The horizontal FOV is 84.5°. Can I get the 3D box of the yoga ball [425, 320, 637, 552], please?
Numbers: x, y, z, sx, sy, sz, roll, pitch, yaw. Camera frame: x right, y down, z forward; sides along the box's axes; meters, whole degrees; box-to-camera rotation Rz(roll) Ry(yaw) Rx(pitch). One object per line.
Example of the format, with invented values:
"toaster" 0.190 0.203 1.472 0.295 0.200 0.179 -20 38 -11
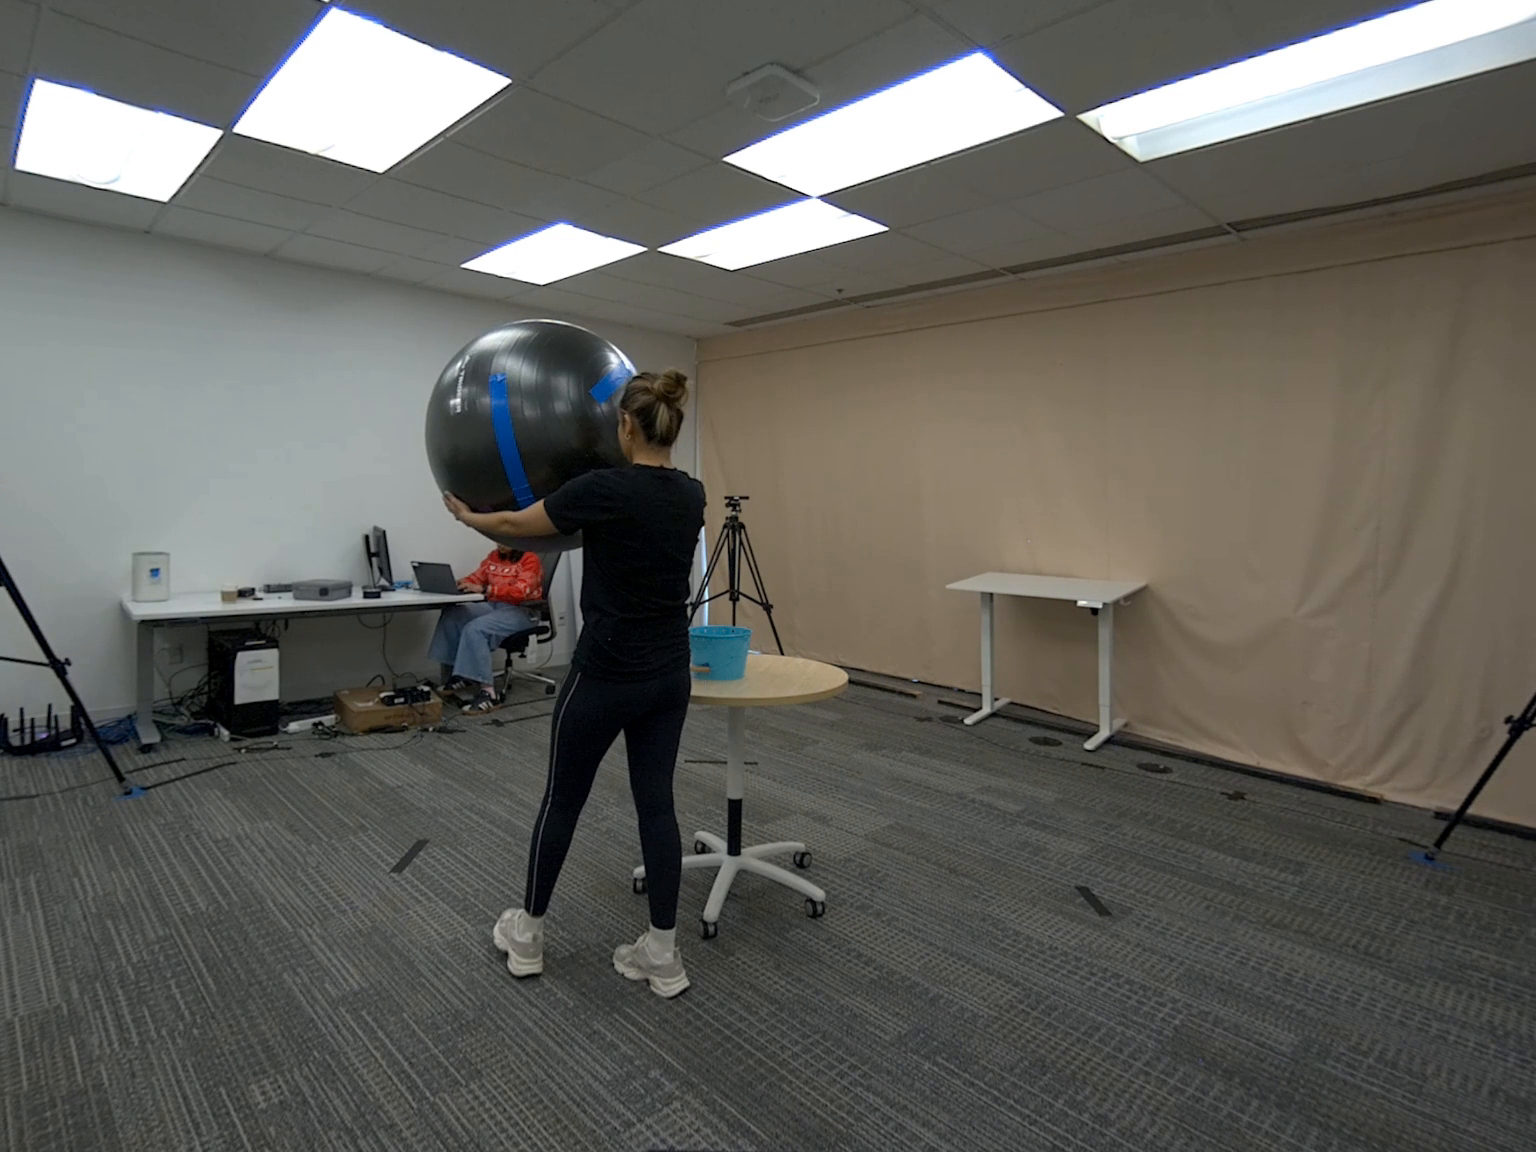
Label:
"yoga ball" -0.741 -0.449 2.774 0.757 0.756 0.761 1 4 -1
